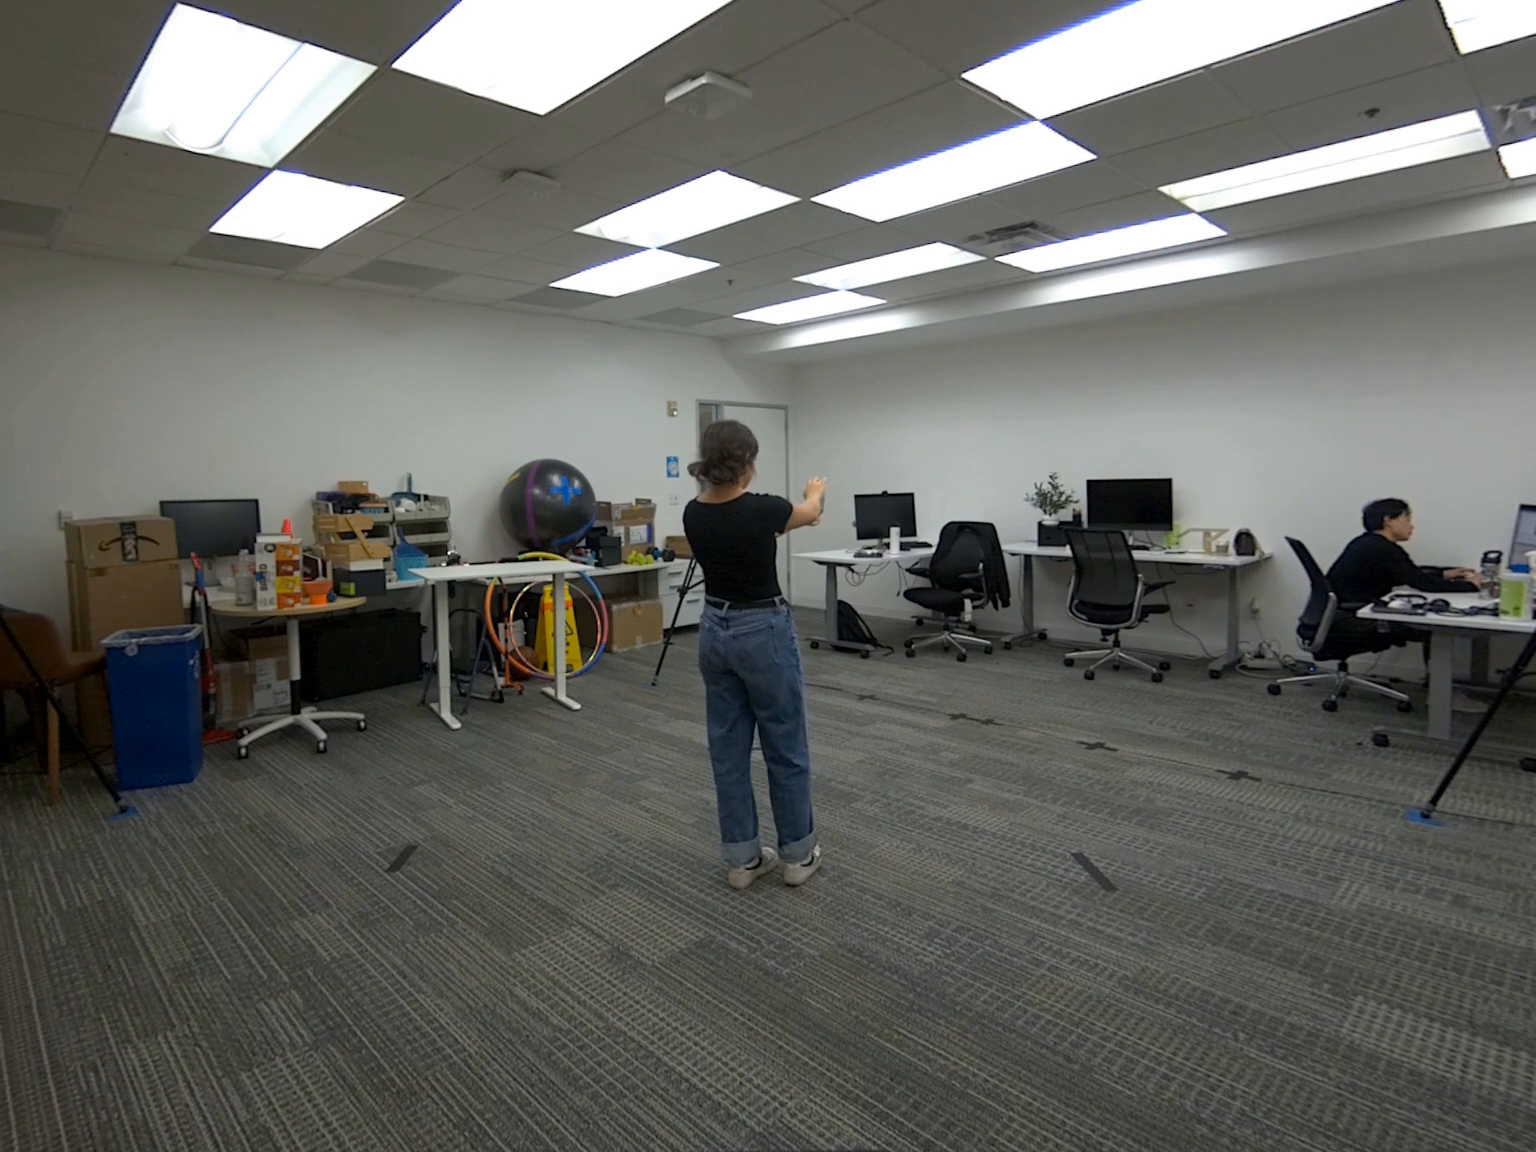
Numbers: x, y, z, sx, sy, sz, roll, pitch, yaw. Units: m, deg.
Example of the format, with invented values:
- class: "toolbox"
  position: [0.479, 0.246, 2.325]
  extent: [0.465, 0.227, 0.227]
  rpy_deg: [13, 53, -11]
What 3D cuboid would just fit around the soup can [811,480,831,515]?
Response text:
- class: "soup can"
  position: [0.202, -0.312, 3.375]
  extent: [0.067, 0.120, 0.068]
  rpy_deg: [1, 18, -2]
